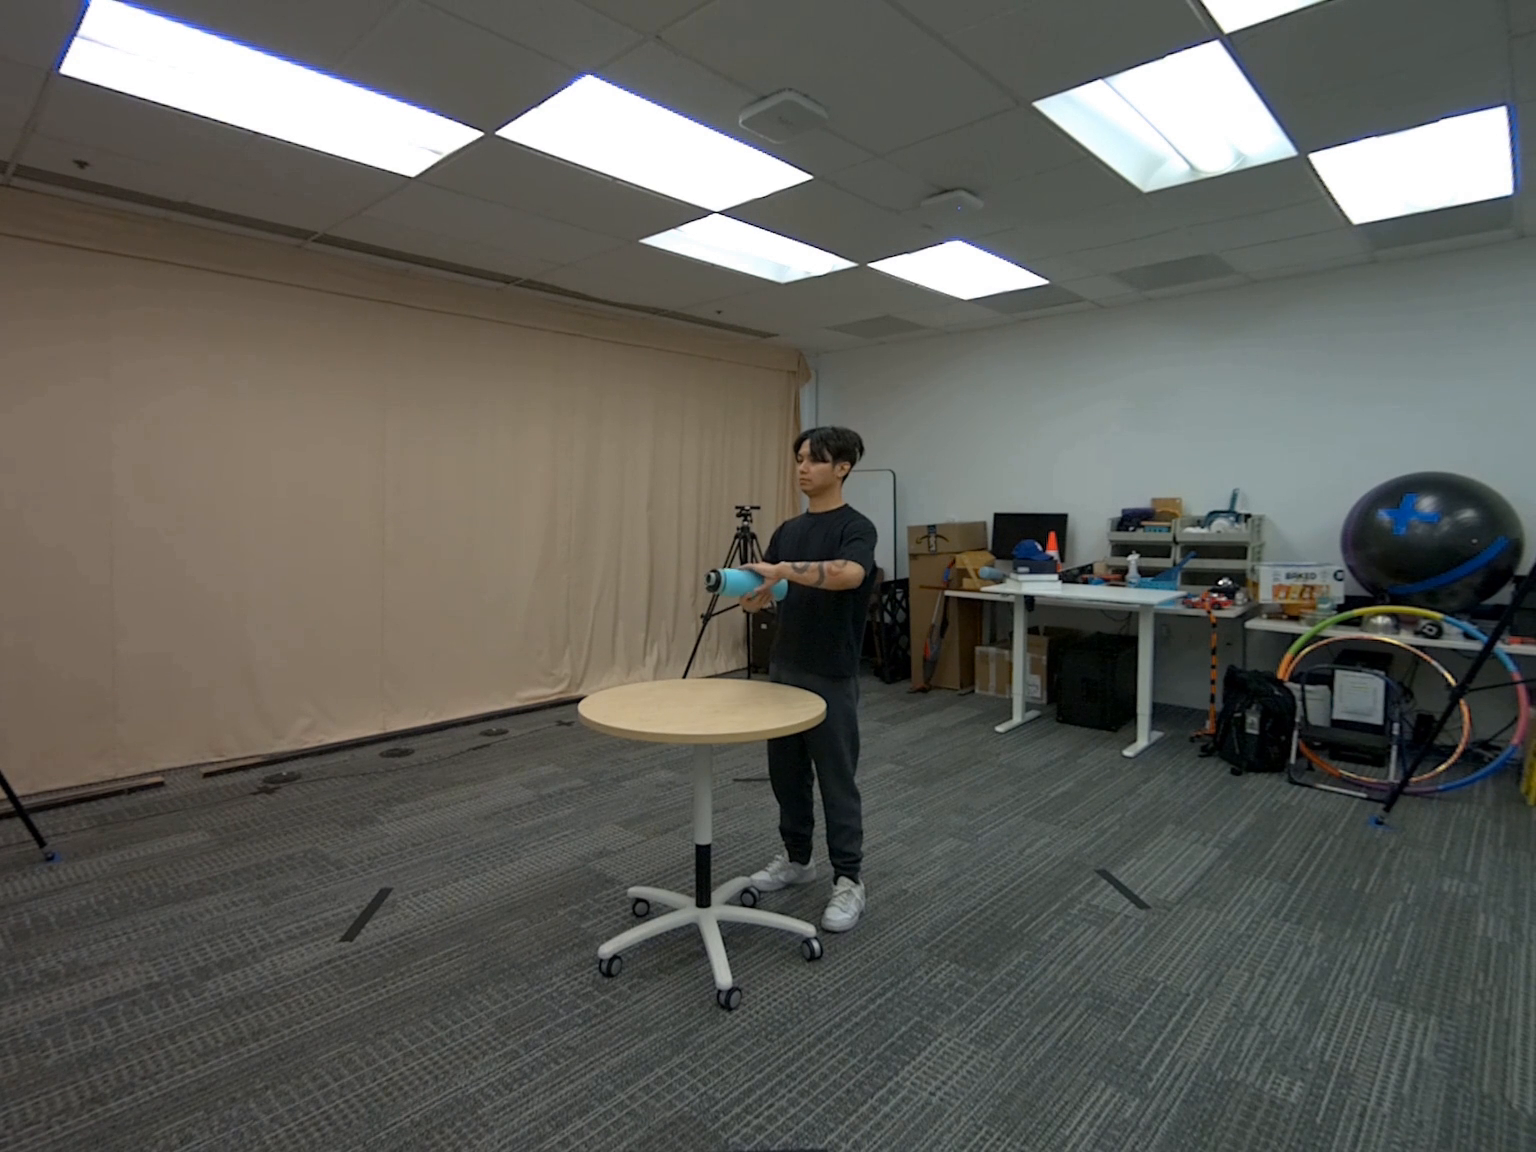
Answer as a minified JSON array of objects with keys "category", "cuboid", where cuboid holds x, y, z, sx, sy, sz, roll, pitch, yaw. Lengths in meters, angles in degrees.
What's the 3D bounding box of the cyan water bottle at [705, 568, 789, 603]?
[{"category":"cyan water bottle","cuboid":[-0.077,0.034,2.752,0.276,0.092,0.095,6,1,-27]}]
